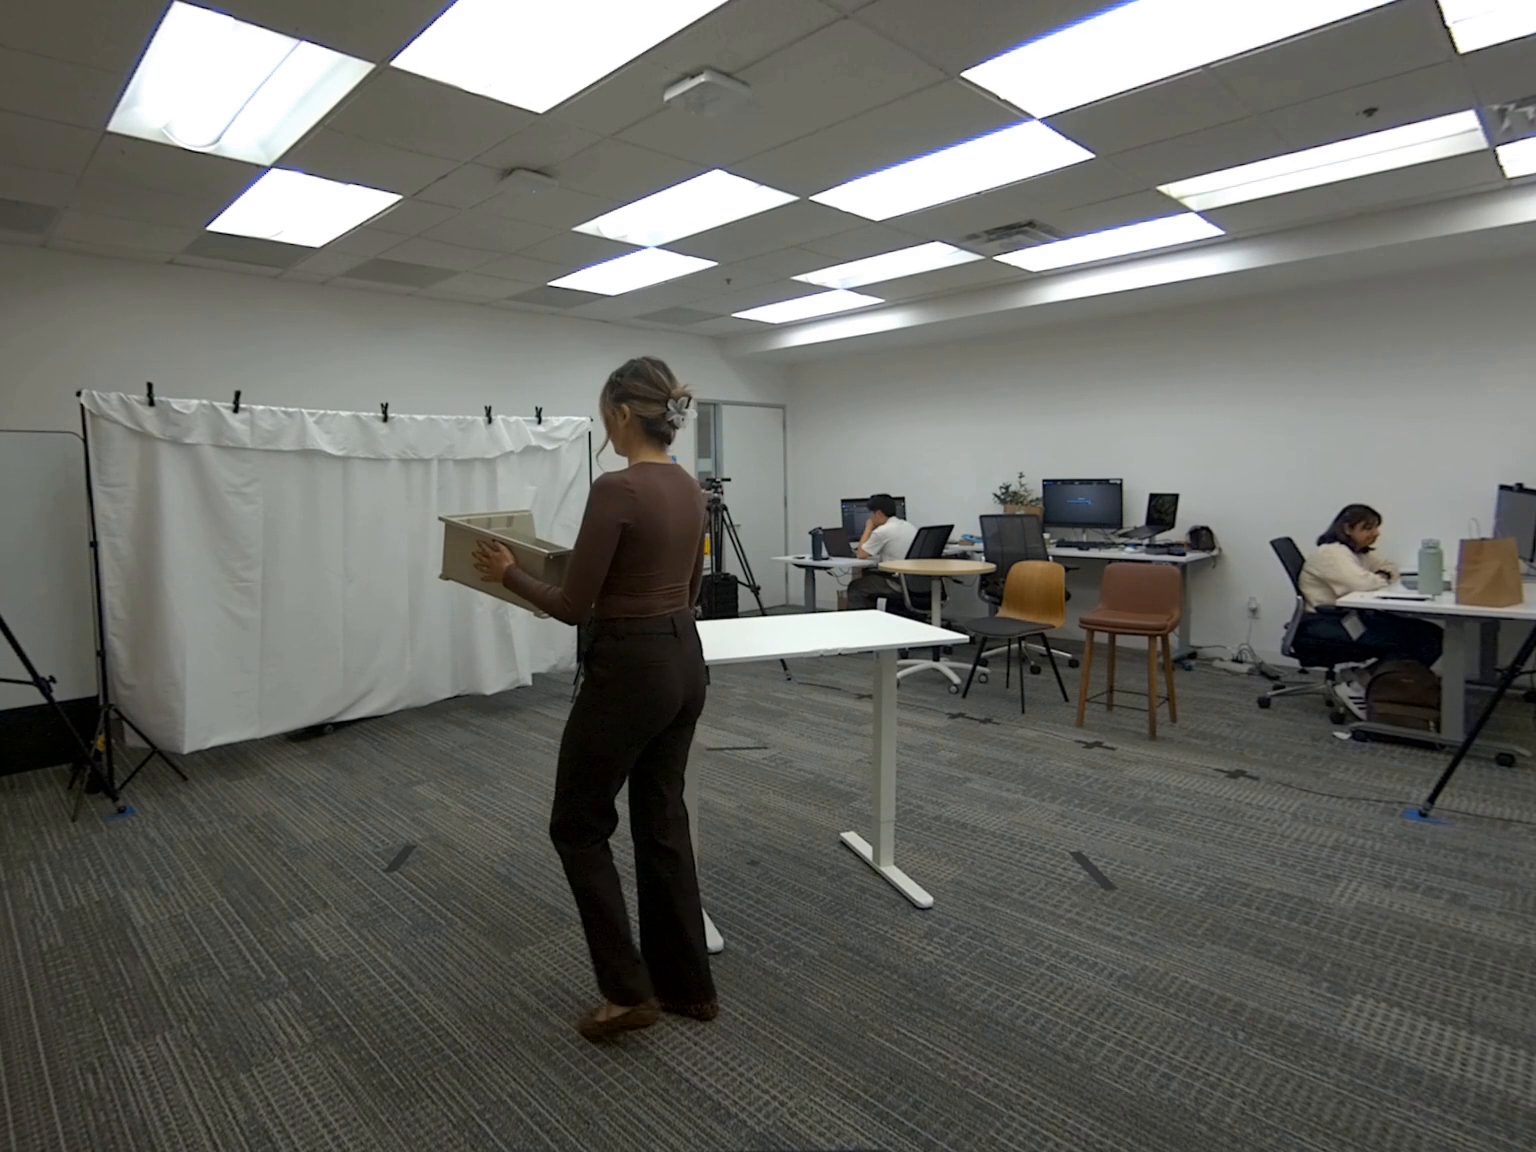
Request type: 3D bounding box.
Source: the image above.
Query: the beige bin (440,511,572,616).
[{"bbox_3d":[-0.645,-0.046,2.418,0.435,0.187,0.369,16,16,29],"label":"beige bin"}]
